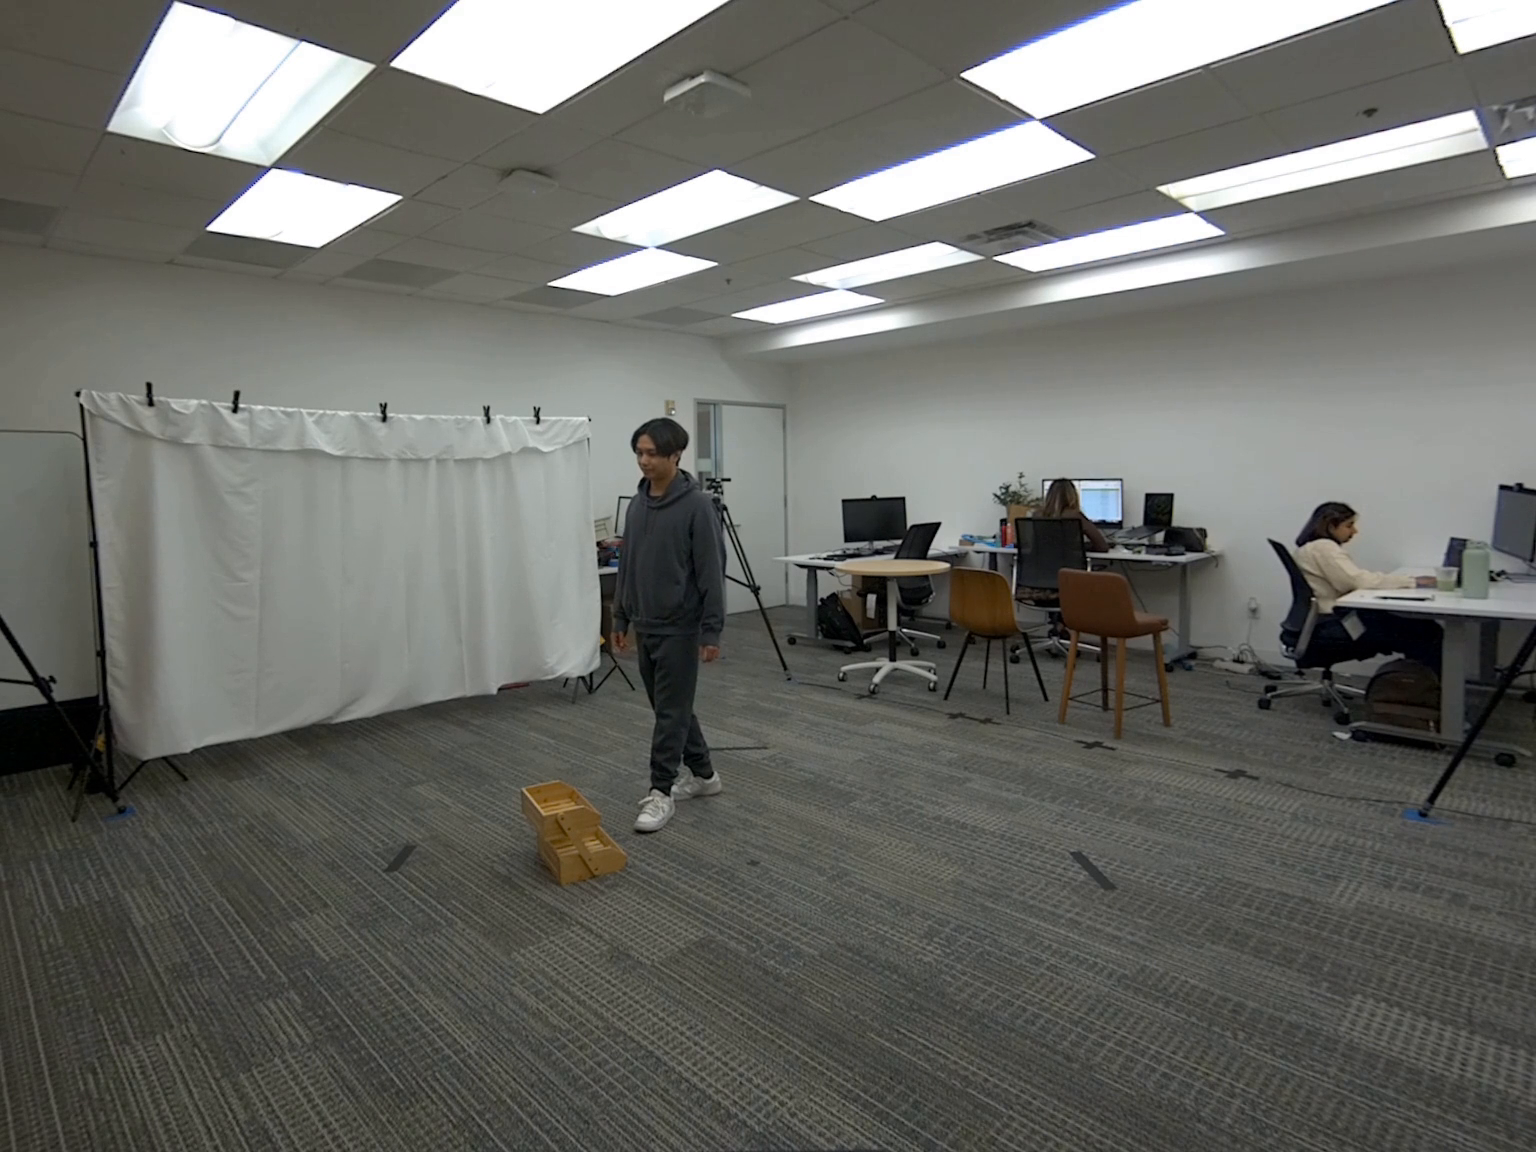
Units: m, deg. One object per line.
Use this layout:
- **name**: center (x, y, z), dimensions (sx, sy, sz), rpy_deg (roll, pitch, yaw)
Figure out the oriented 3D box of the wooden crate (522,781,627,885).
- **wooden crate**: center (-0.713, 0.917, 3.133), dimensions (0.295, 0.272, 0.333), rpy_deg (-5, 7, -29)
